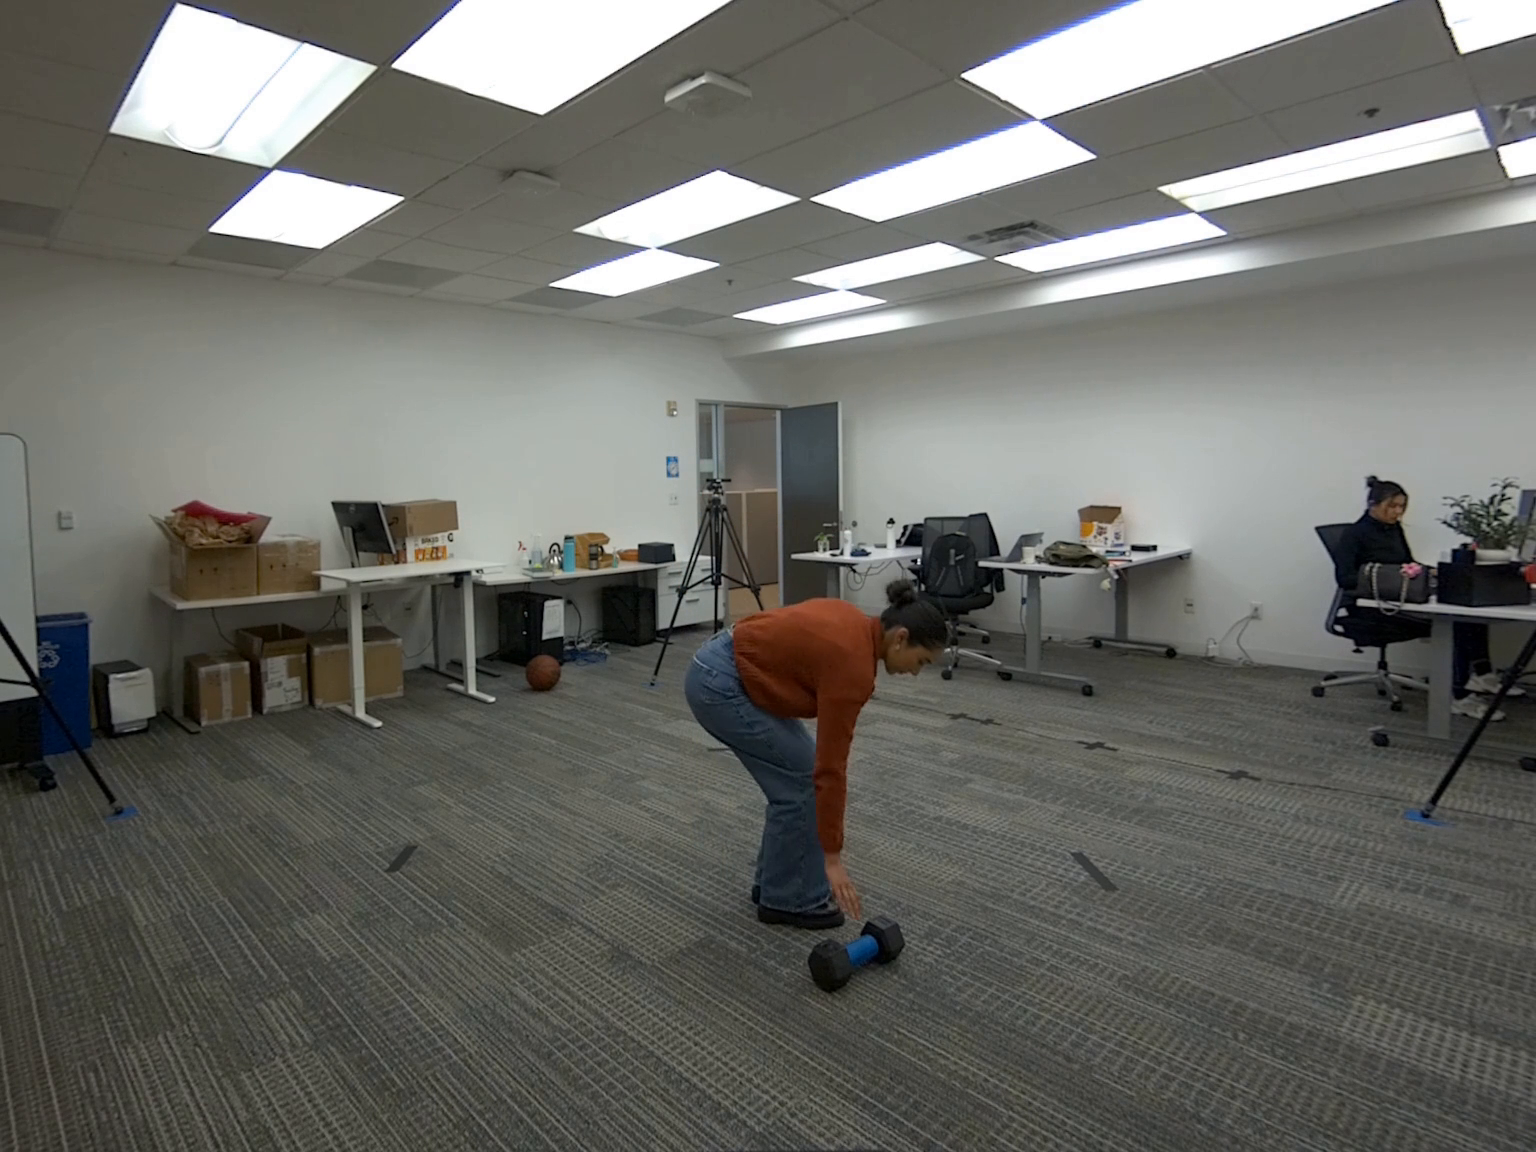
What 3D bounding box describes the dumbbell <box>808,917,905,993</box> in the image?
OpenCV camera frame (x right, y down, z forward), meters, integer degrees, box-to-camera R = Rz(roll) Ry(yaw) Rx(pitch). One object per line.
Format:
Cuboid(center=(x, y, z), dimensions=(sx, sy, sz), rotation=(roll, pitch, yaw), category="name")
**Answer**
Cuboid(center=(0.259, 1.067, 2.415), dimensions=(0.286, 0.126, 0.109), rotation=(-6, -24, -39), category="dumbbell")
